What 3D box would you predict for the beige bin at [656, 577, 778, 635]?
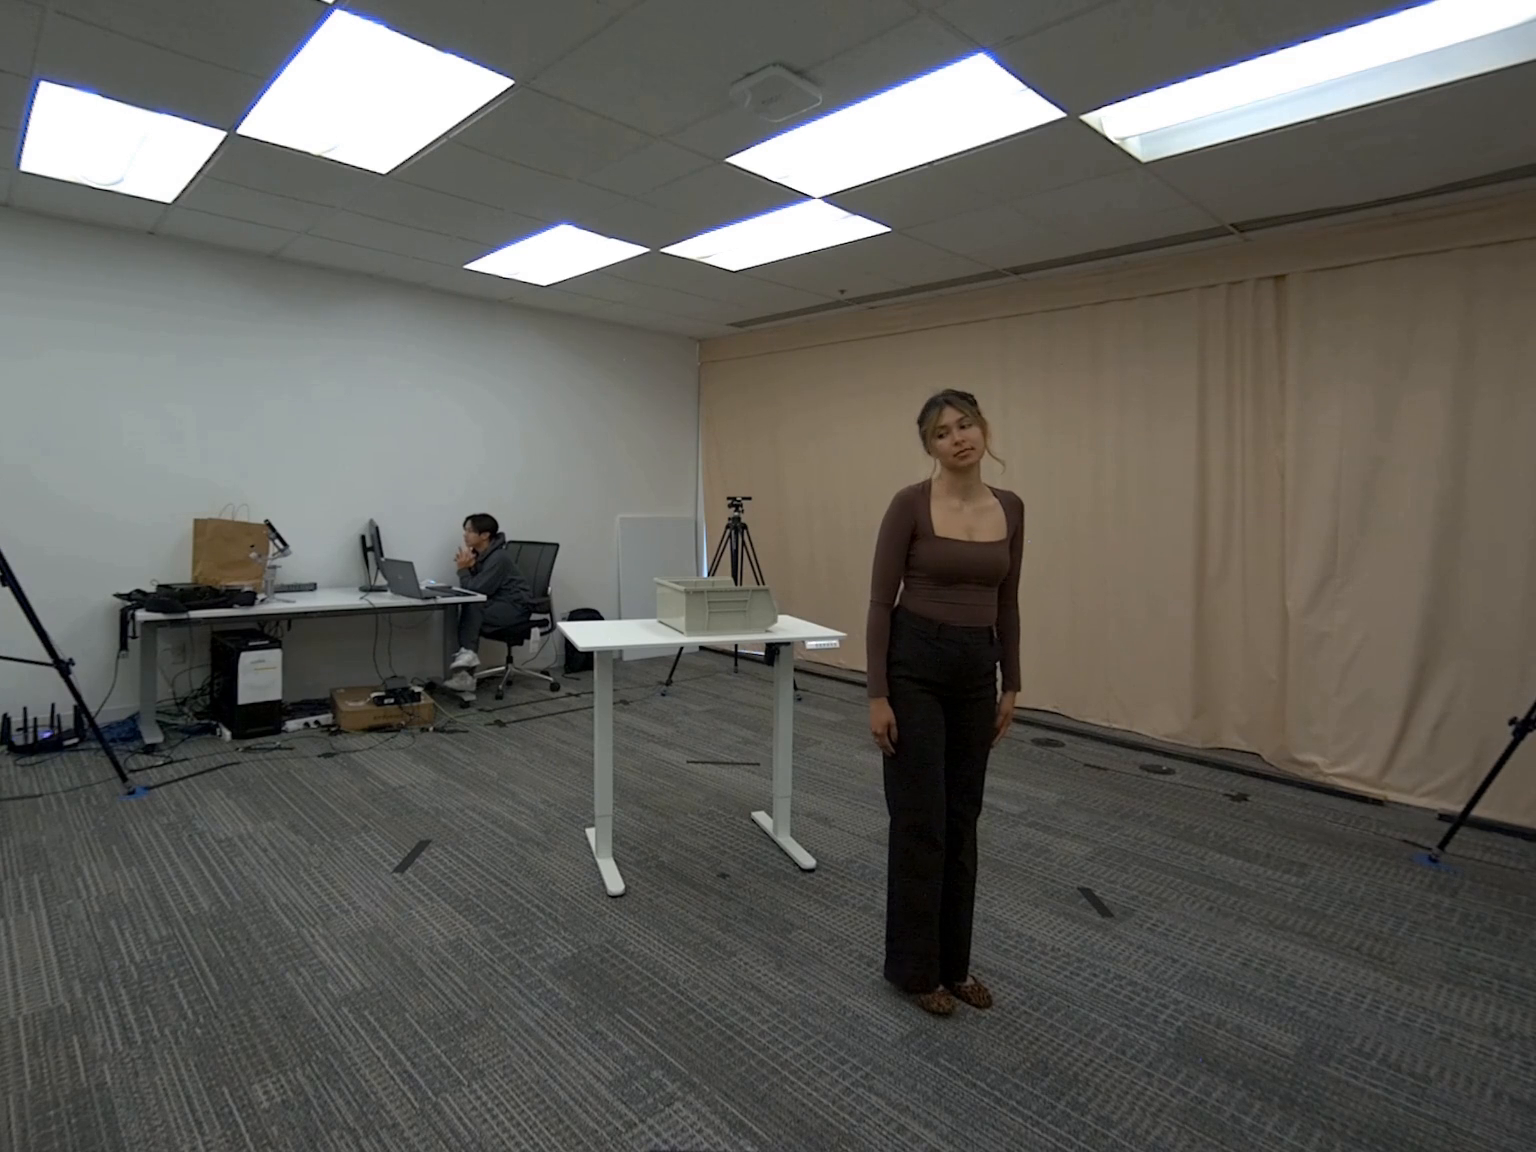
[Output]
[{"bbox_3d":[-0.222,0.113,3.309,0.371,0.188,0.430,-2,6,-23],"label":"beige bin"}]
